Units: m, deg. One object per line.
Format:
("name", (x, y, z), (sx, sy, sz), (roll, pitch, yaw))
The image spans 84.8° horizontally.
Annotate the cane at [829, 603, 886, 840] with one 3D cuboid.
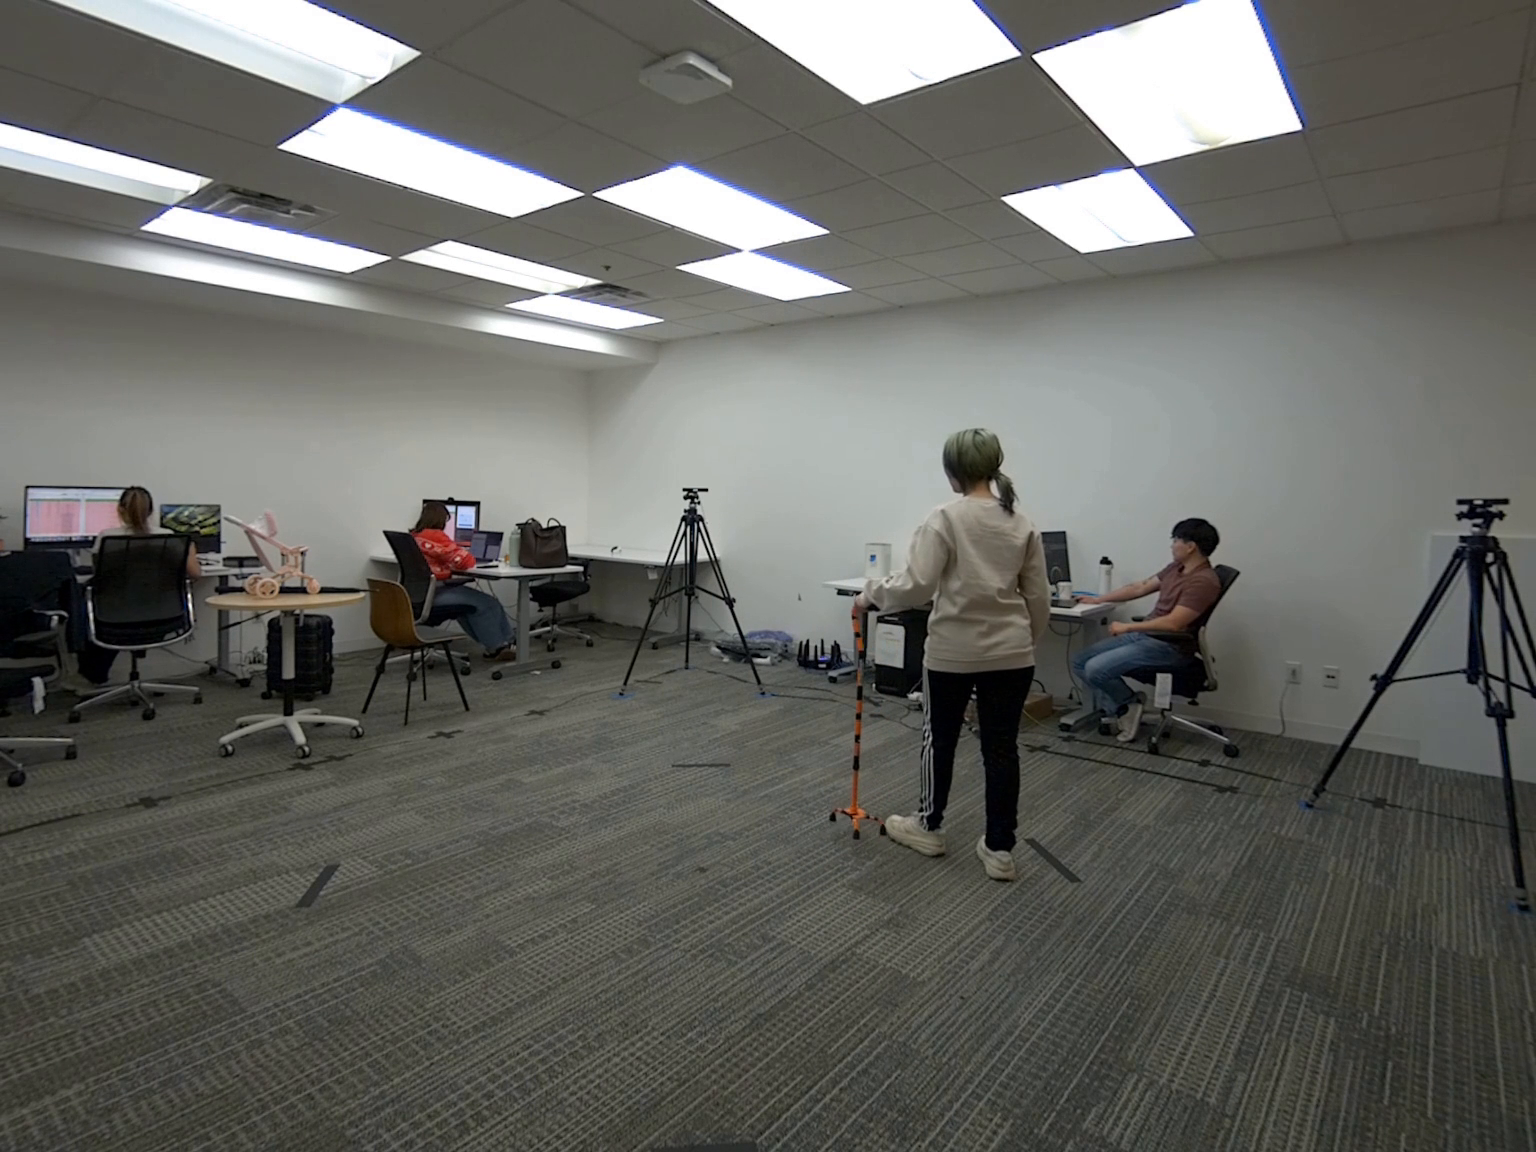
("cane", (0.360, 0.550, 3.342), (0.148, 0.904, 0.212), (-1, 5, -22))
